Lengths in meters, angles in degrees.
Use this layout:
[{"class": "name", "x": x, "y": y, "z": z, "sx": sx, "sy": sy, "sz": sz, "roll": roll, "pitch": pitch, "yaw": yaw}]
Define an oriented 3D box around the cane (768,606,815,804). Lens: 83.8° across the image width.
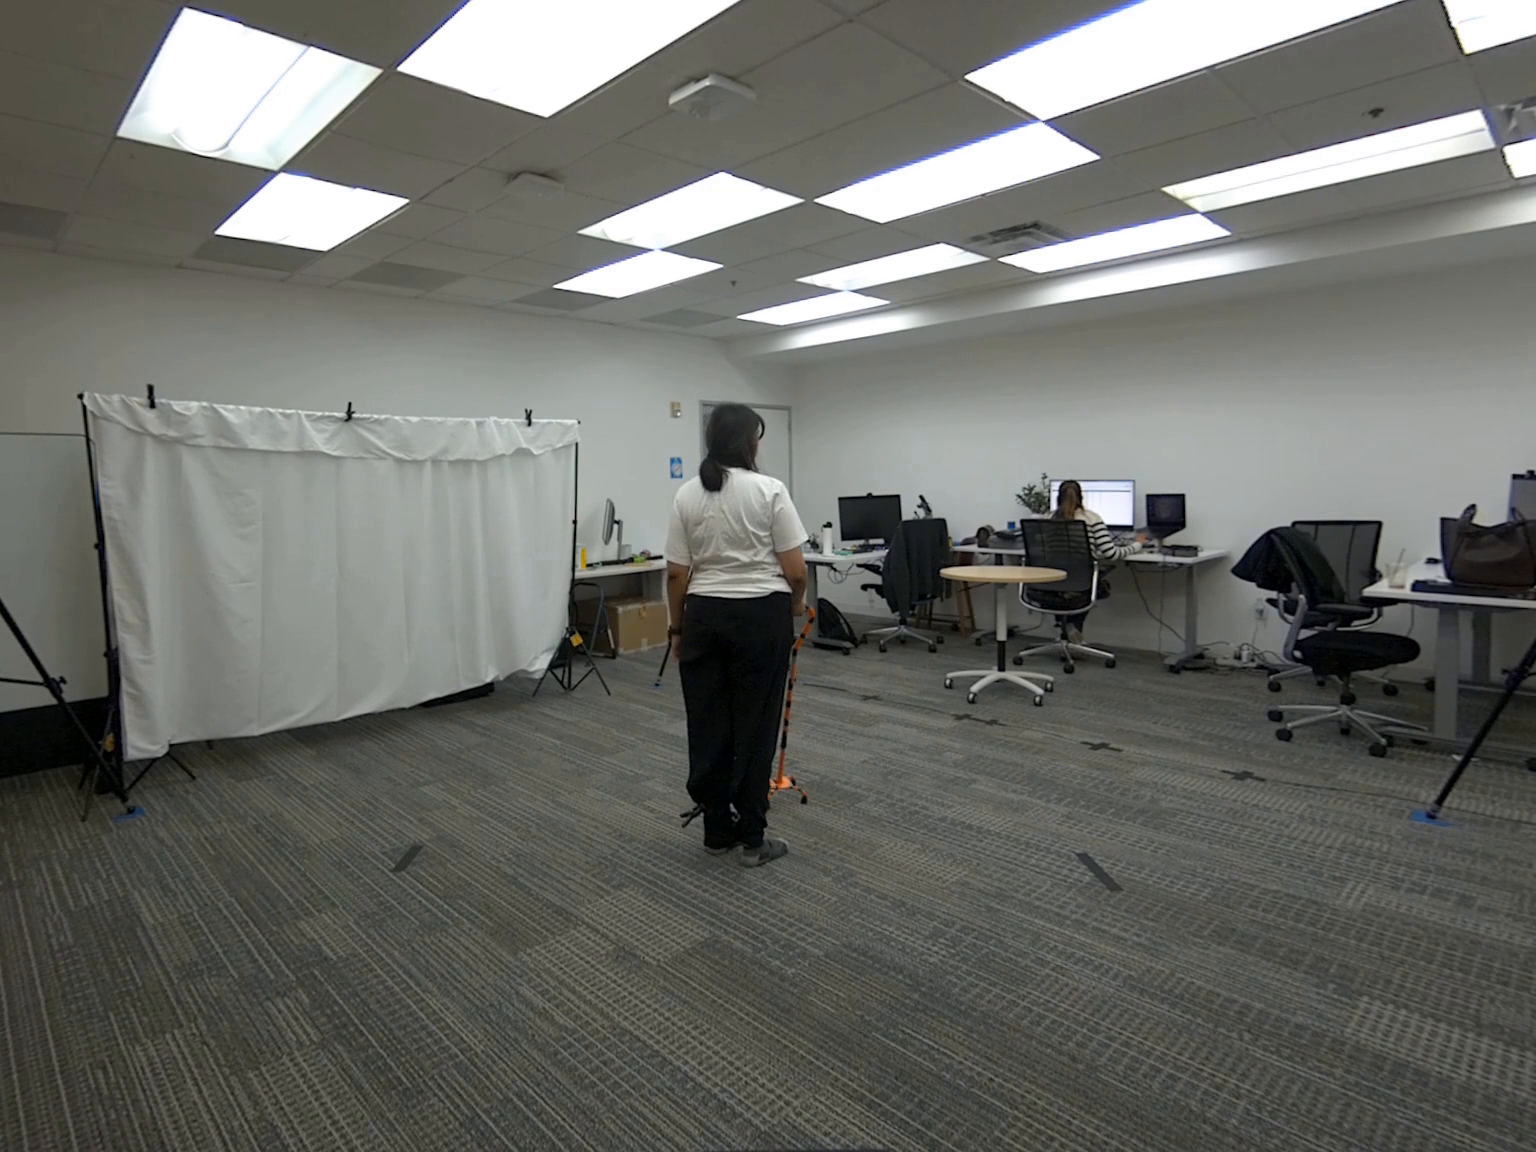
[{"class": "cane", "x": 0.098, "y": 0.540, "z": 3.573, "sx": 0.202, "sy": 0.895, "sz": 0.157, "roll": -2, "pitch": 20, "yaw": -22}]
